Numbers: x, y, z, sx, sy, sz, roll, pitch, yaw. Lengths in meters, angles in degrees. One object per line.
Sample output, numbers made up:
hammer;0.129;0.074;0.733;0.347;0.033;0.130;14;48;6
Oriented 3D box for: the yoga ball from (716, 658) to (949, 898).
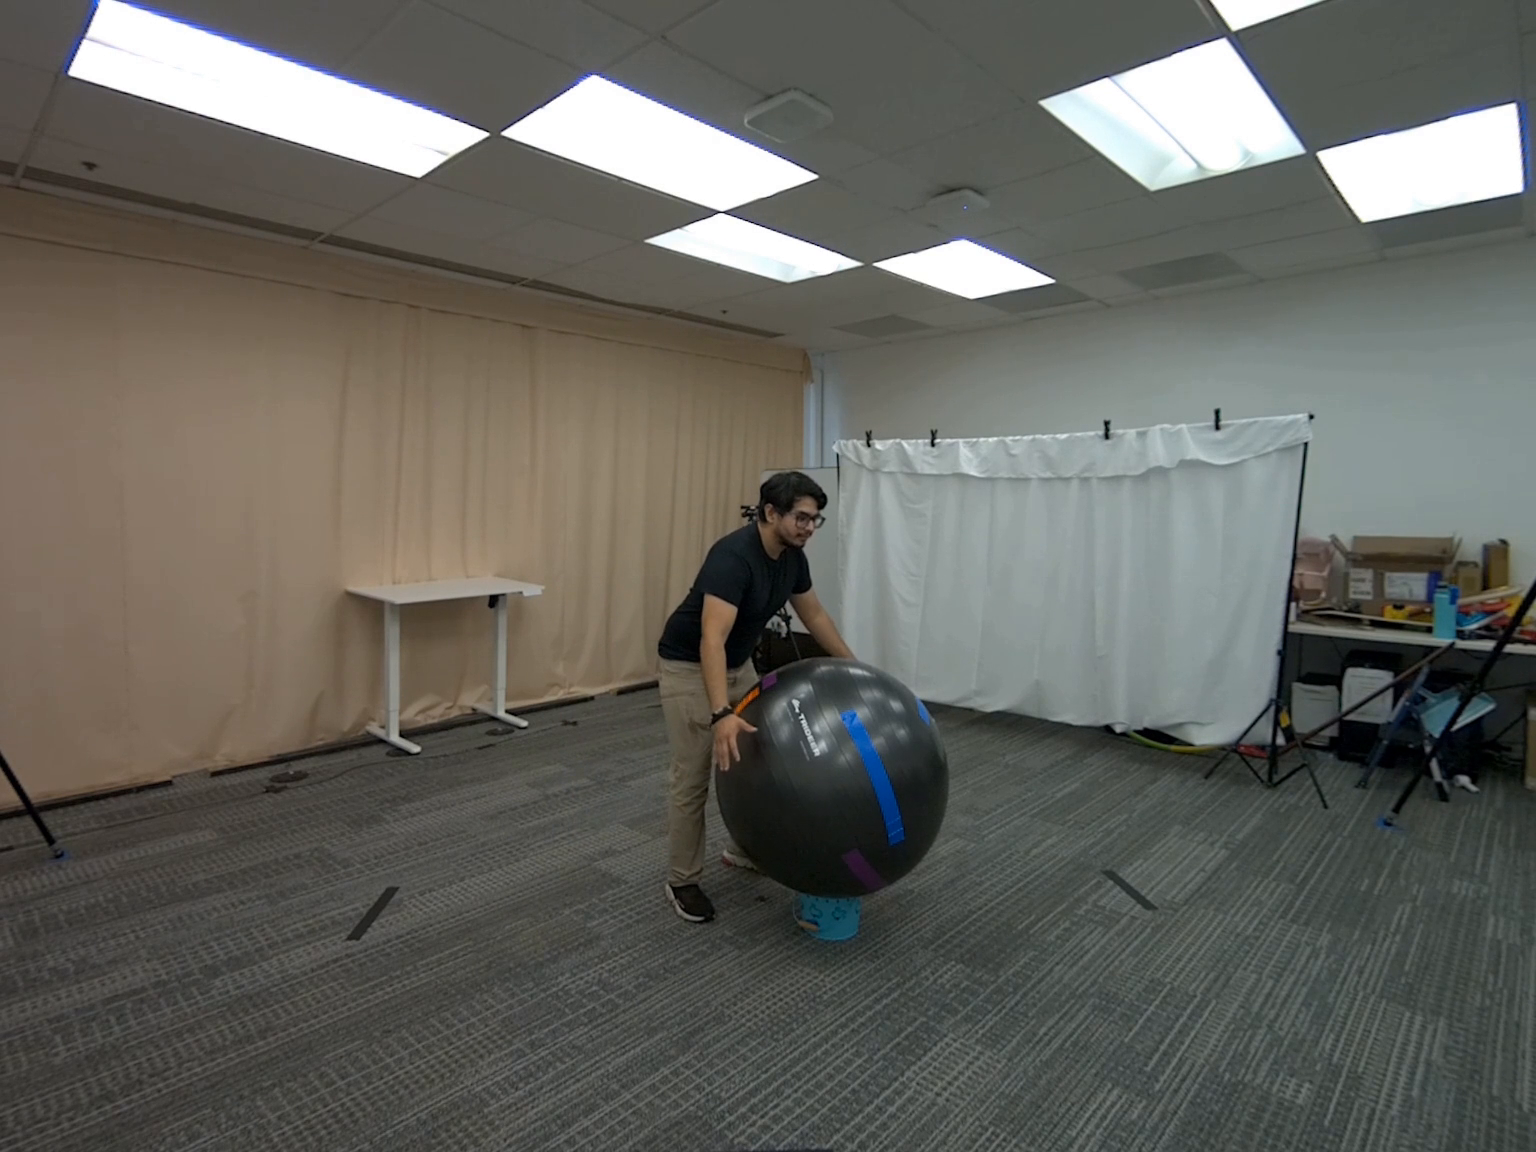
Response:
yoga ball;0.212;0.654;2.773;0.757;0.756;0.761;0;4;-2
